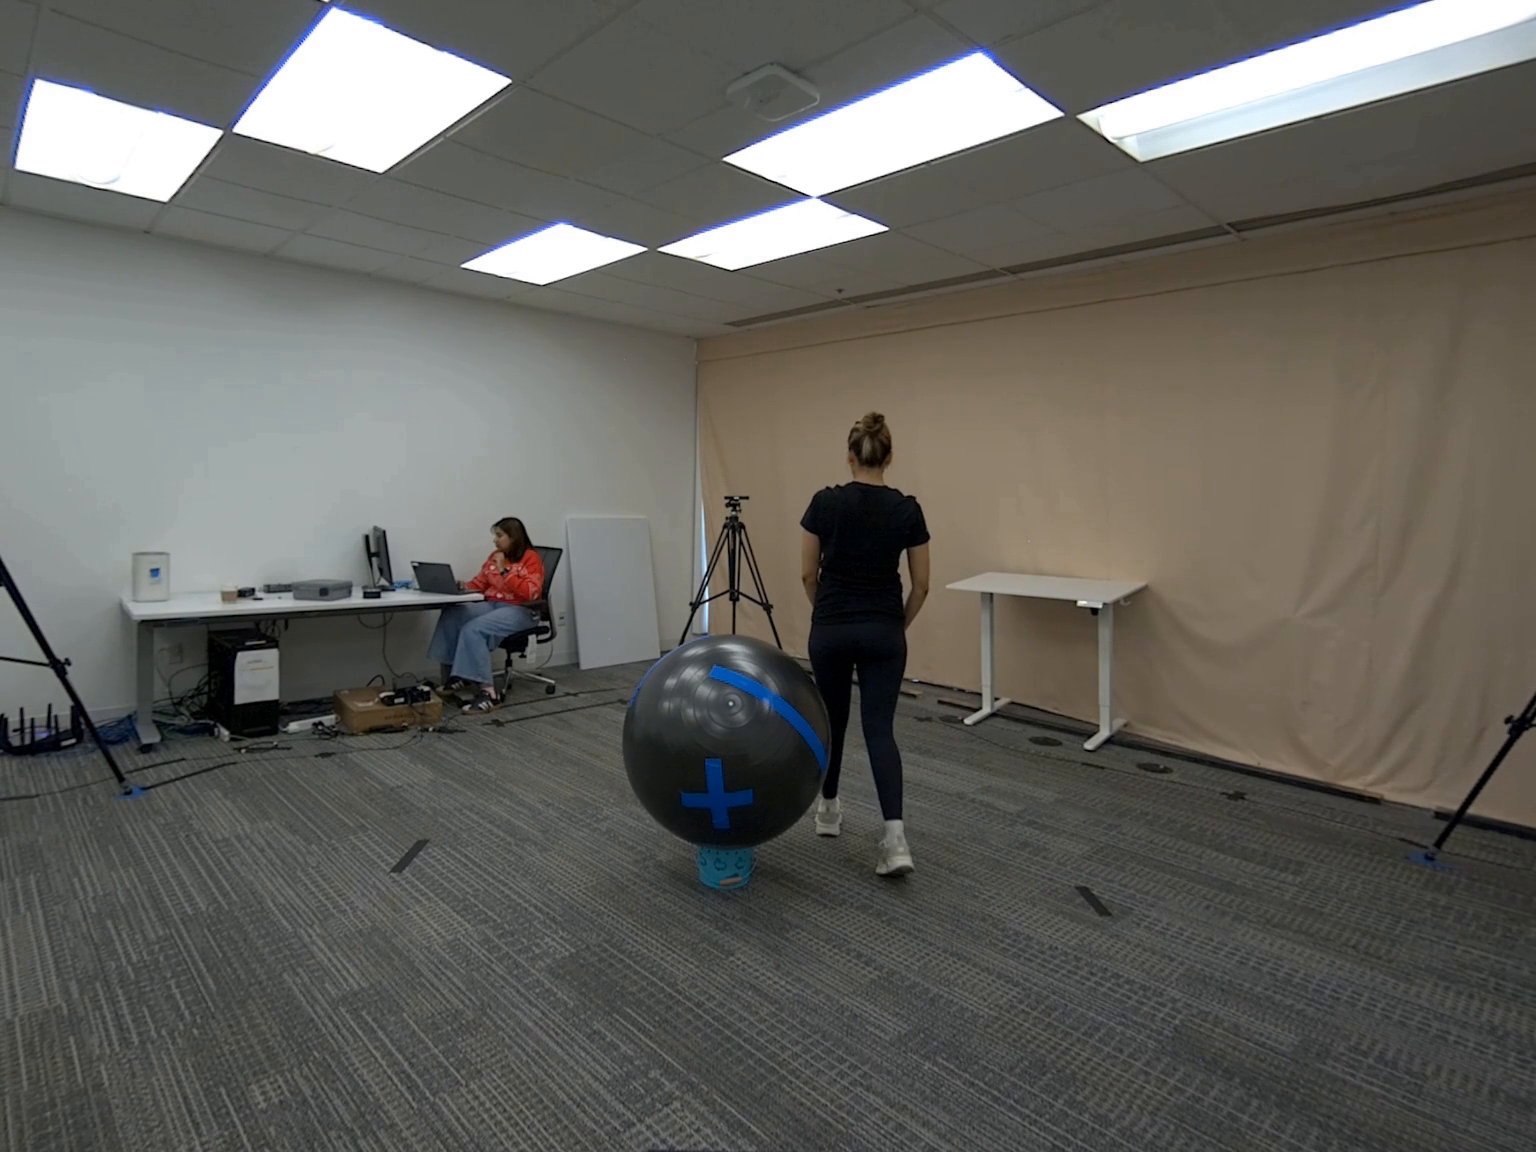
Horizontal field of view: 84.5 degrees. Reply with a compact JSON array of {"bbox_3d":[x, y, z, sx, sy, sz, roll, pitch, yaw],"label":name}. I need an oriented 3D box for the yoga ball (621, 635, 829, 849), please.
[{"bbox_3d":[-0.155,0.596,3.055,0.757,0.756,0.761,1,4,-1],"label":"yoga ball"}]
